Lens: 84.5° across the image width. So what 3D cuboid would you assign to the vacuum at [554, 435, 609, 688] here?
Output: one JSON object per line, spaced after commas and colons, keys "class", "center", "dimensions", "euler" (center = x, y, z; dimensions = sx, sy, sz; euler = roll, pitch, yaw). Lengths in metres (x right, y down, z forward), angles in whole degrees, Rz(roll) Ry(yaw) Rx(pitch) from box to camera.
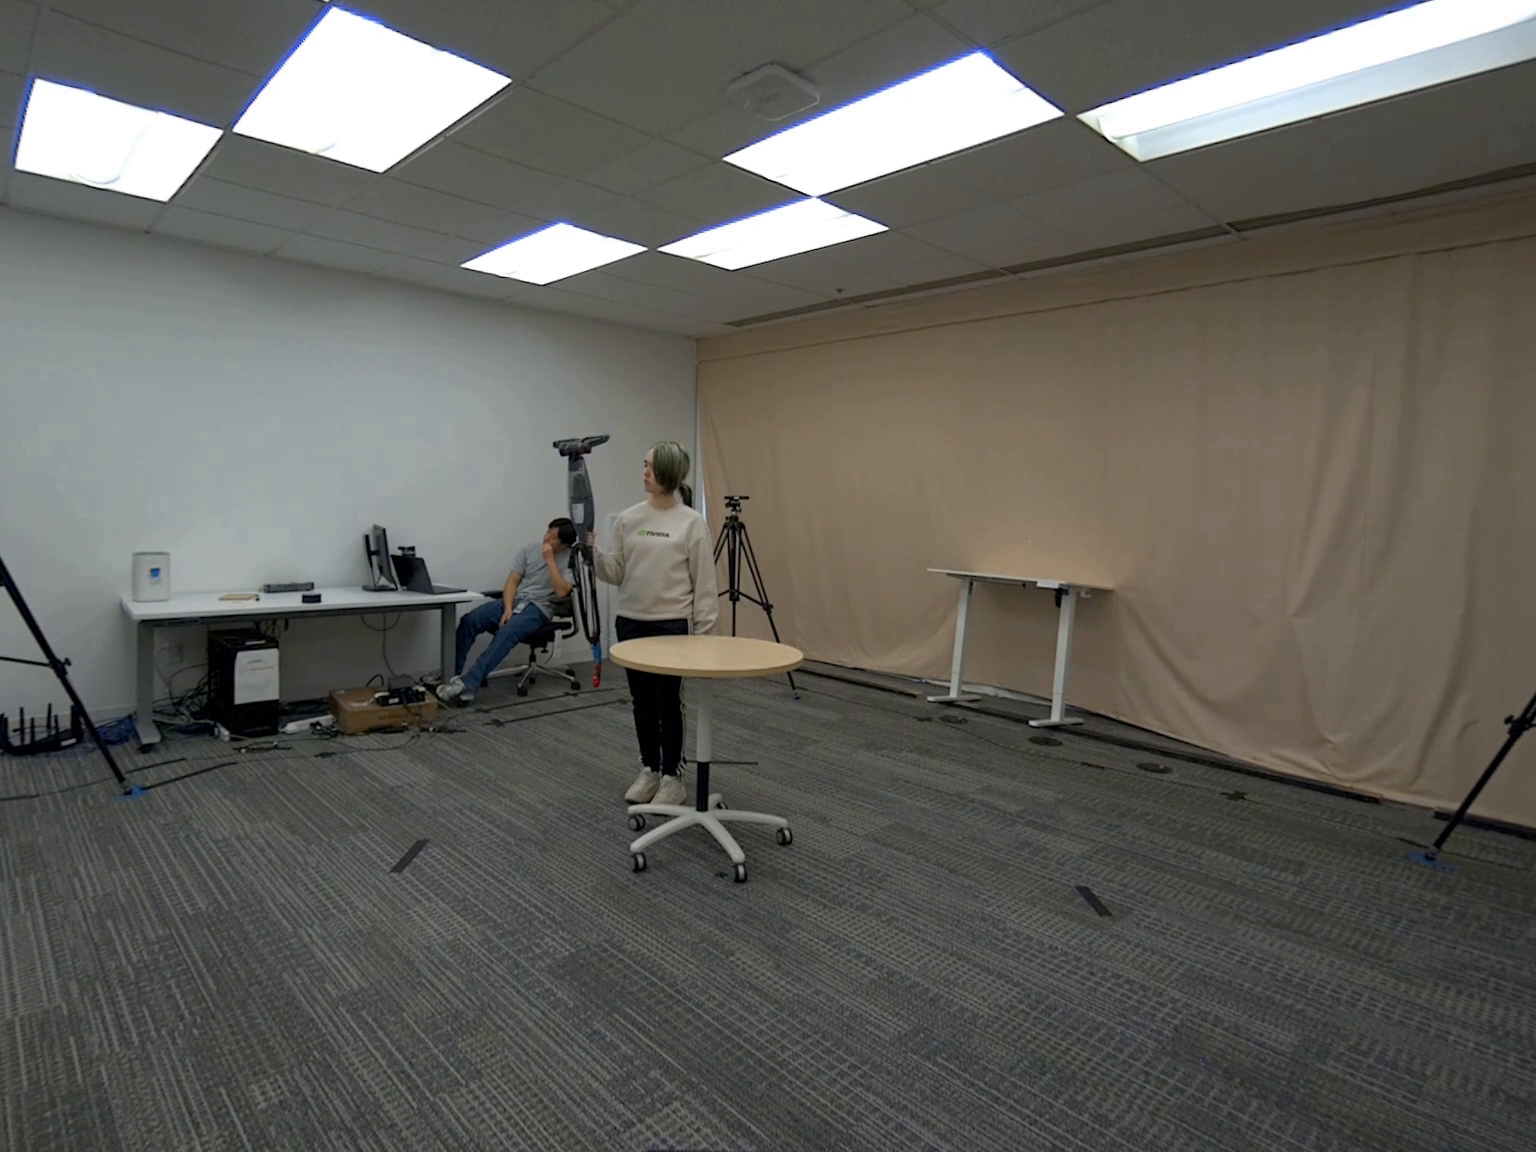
{"class": "vacuum", "center": [-0.796, -0.063, 3.625], "dimensions": [0.254, 1.052, 0.142], "euler": [-5, -3, 10]}
